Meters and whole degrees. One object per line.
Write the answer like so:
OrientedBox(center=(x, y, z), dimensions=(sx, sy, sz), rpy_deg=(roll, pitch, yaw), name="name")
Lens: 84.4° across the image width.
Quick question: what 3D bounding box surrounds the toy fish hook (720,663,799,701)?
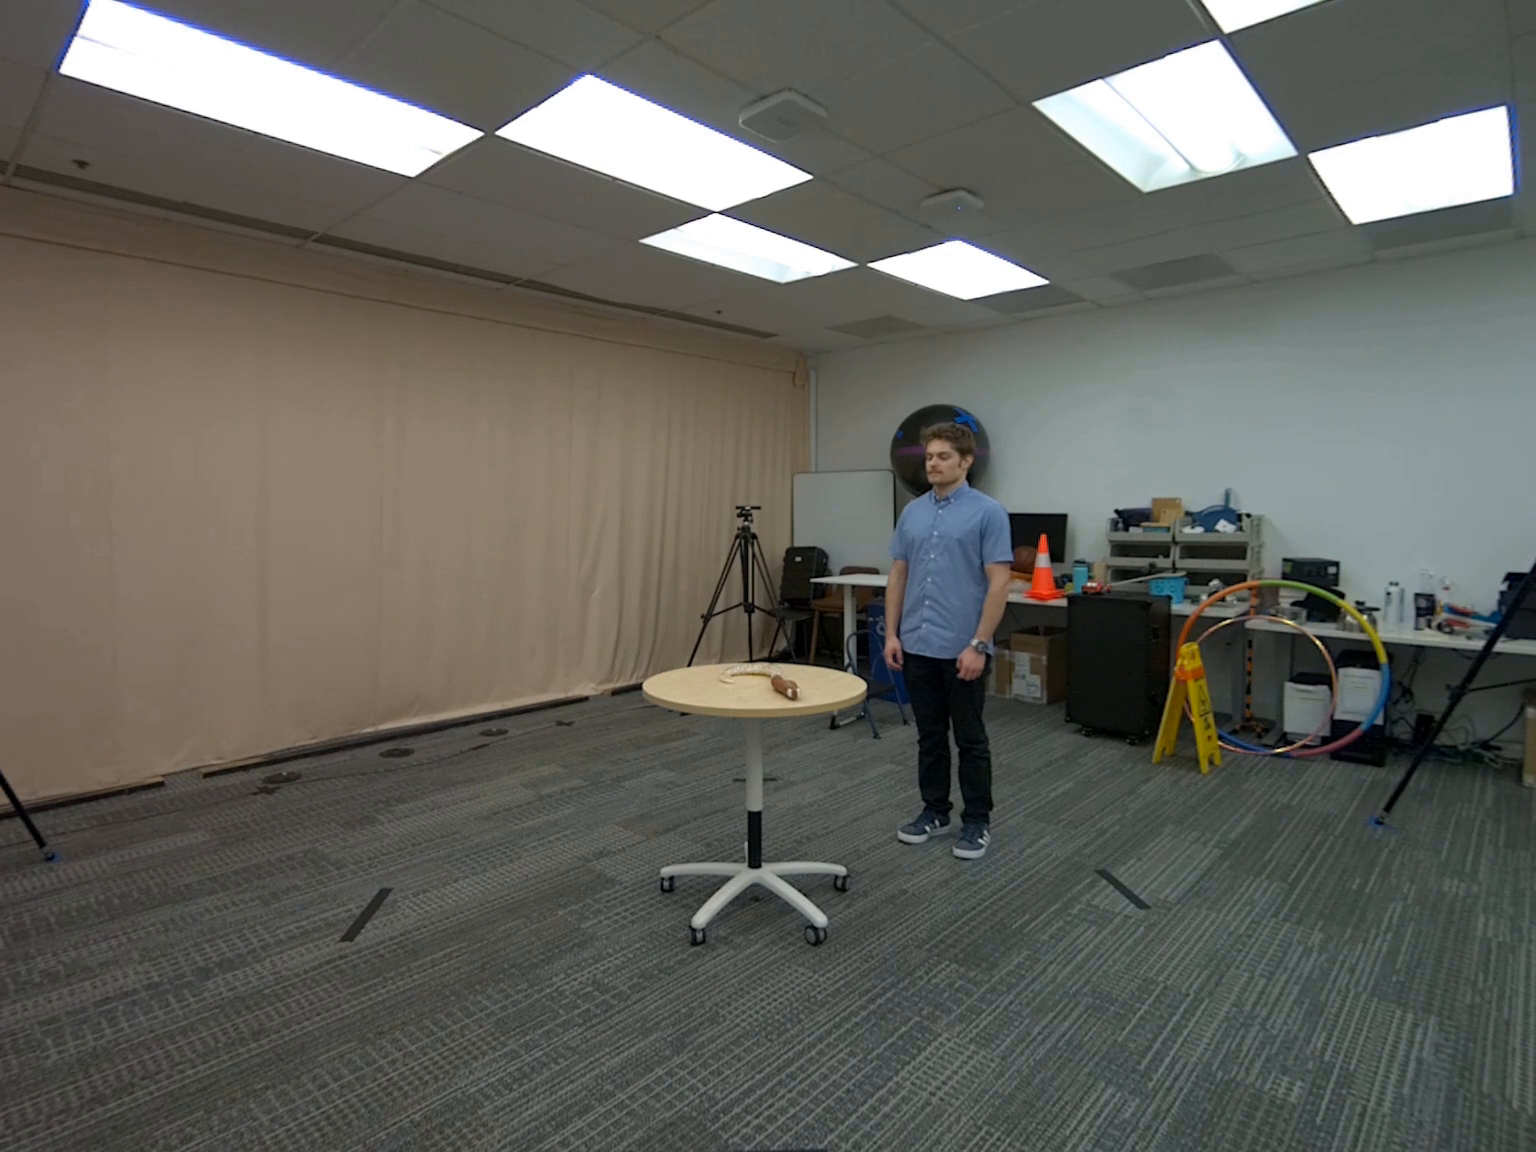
OrientedBox(center=(-0.025, 0.360, 2.845), dimensions=(0.222, 0.048, 0.514), rpy_deg=(-8, 5, -13), name="toy fish hook")
